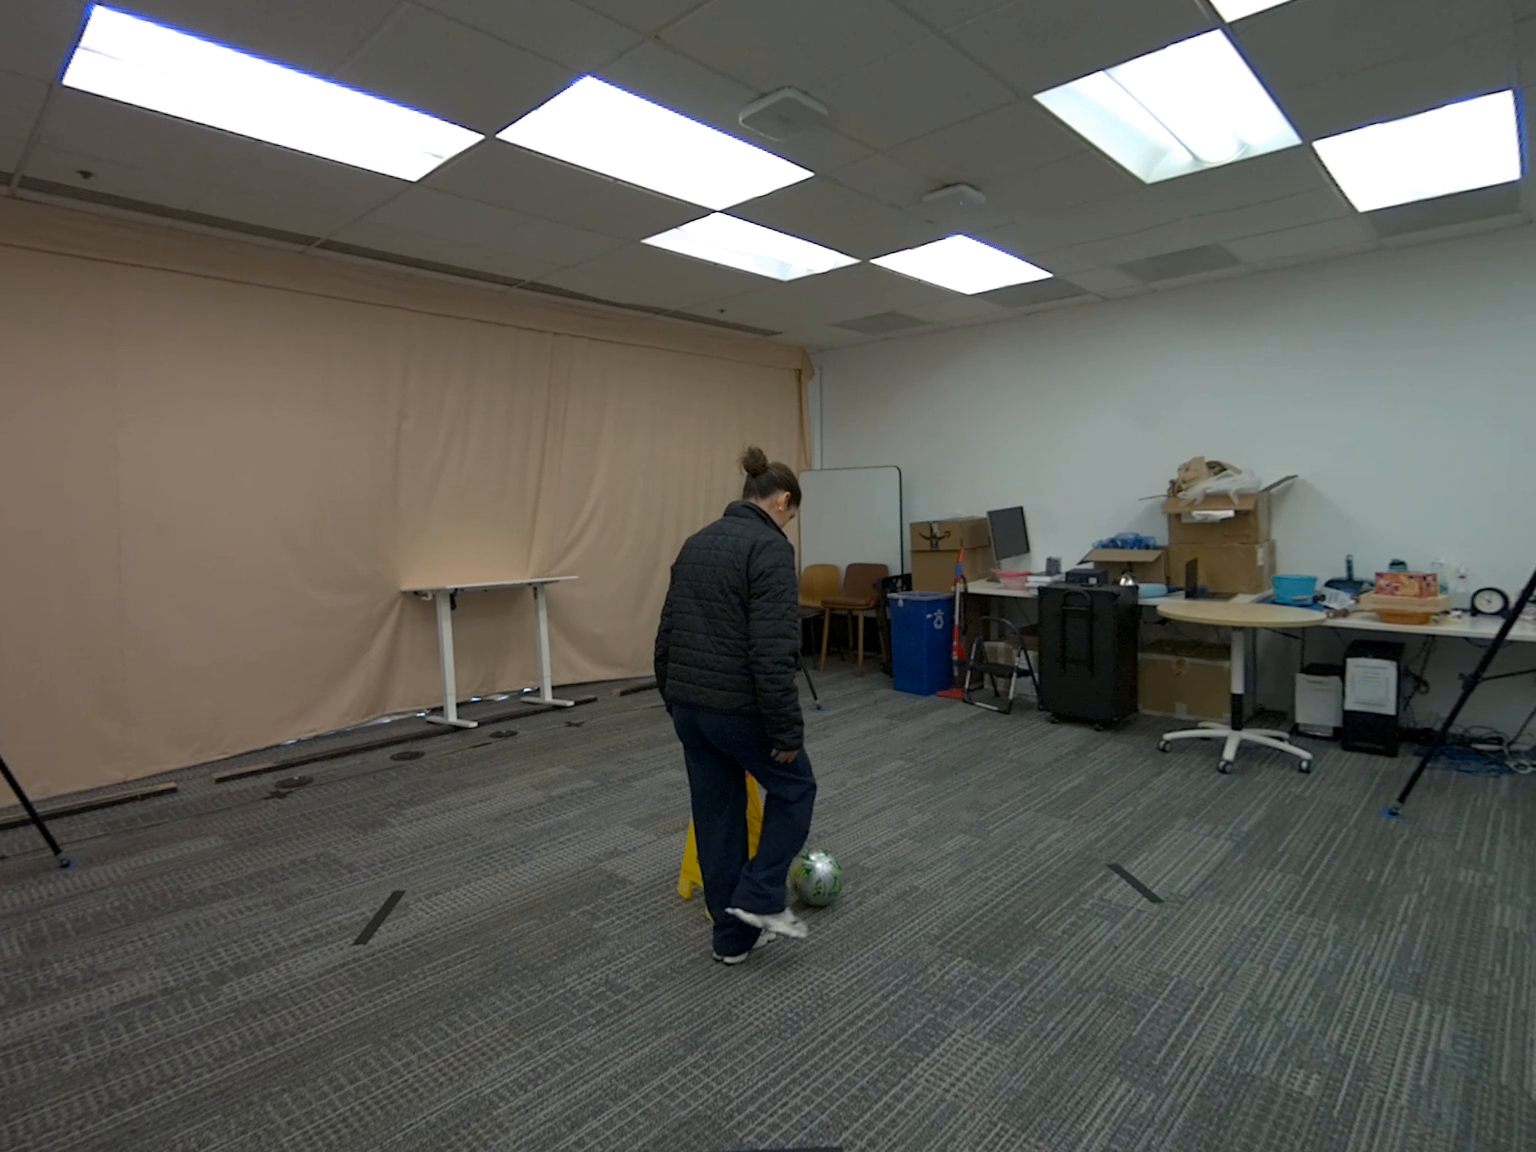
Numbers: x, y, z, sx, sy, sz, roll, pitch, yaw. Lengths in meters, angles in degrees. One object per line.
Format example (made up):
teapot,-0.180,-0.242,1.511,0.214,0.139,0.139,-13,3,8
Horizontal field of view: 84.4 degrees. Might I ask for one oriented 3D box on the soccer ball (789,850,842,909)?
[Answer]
soccer ball,0.173,1.049,2.919,0.187,0.187,0.188,-1,4,-2
